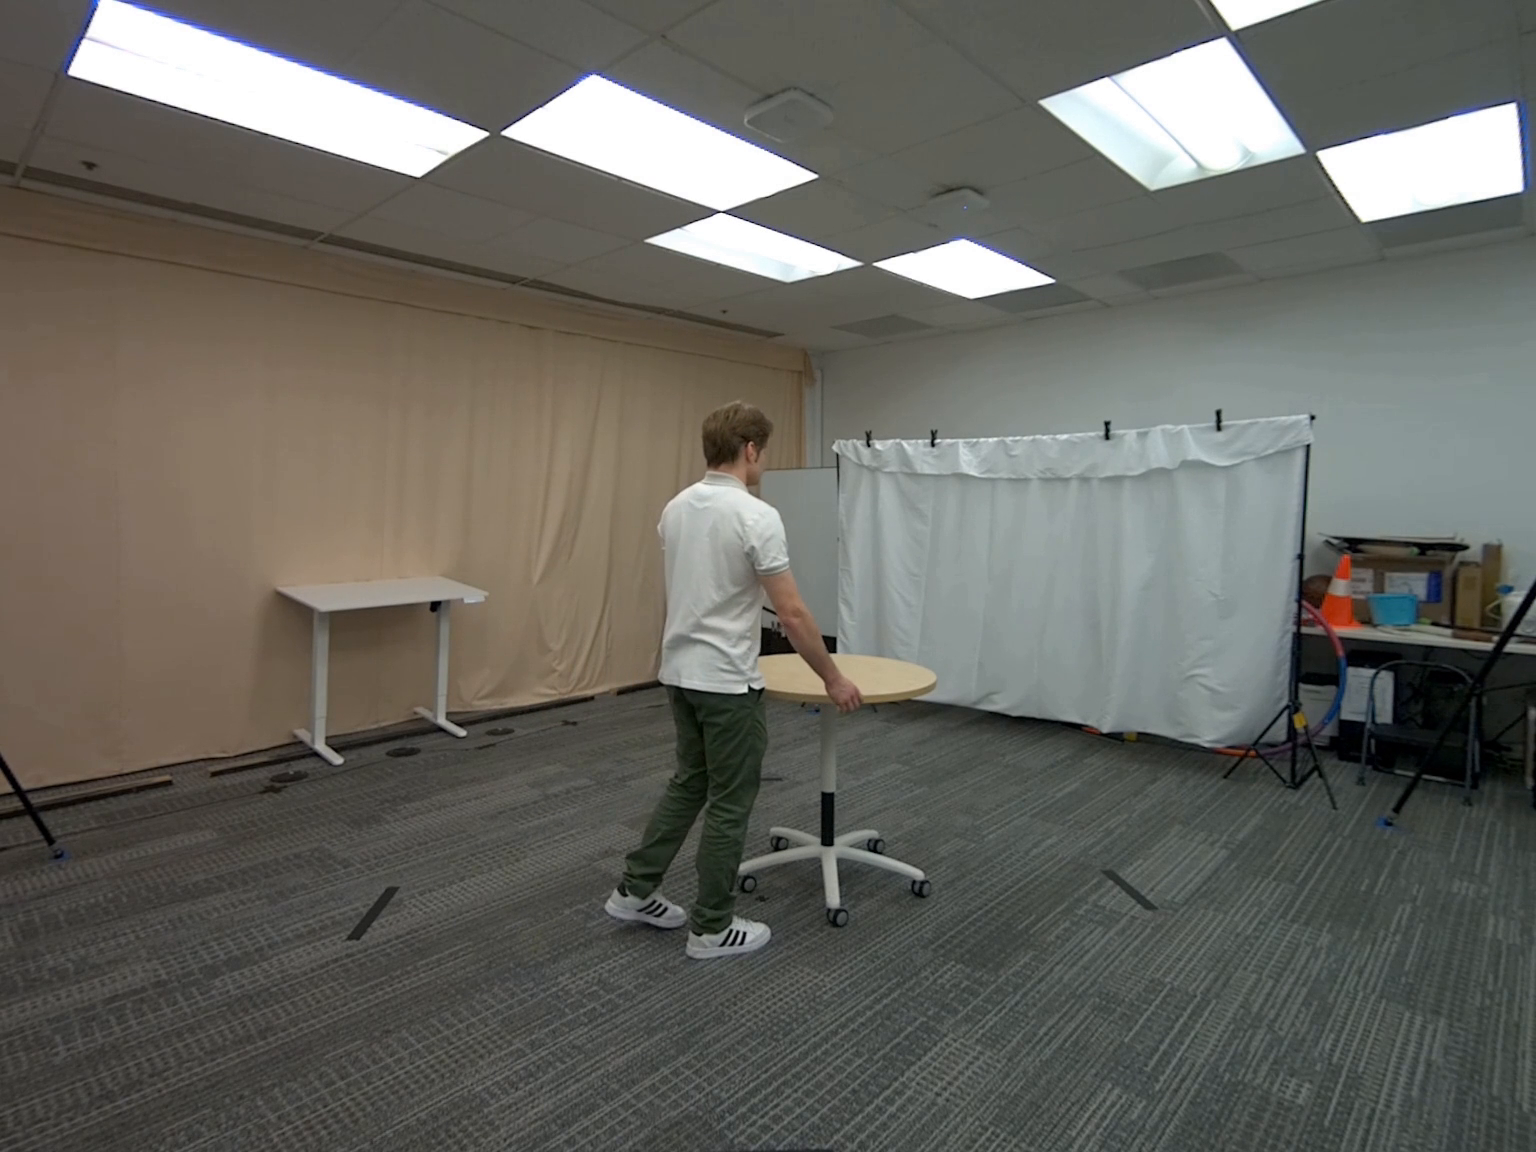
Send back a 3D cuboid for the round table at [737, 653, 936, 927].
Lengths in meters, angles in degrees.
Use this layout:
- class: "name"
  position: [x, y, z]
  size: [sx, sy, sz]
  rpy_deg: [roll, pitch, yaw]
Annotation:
- class: "round table"
  position: [0.226, 0.745, 3.100]
  size: [0.763, 0.792, 0.766]
  rpy_deg: [0, 3, -2]
